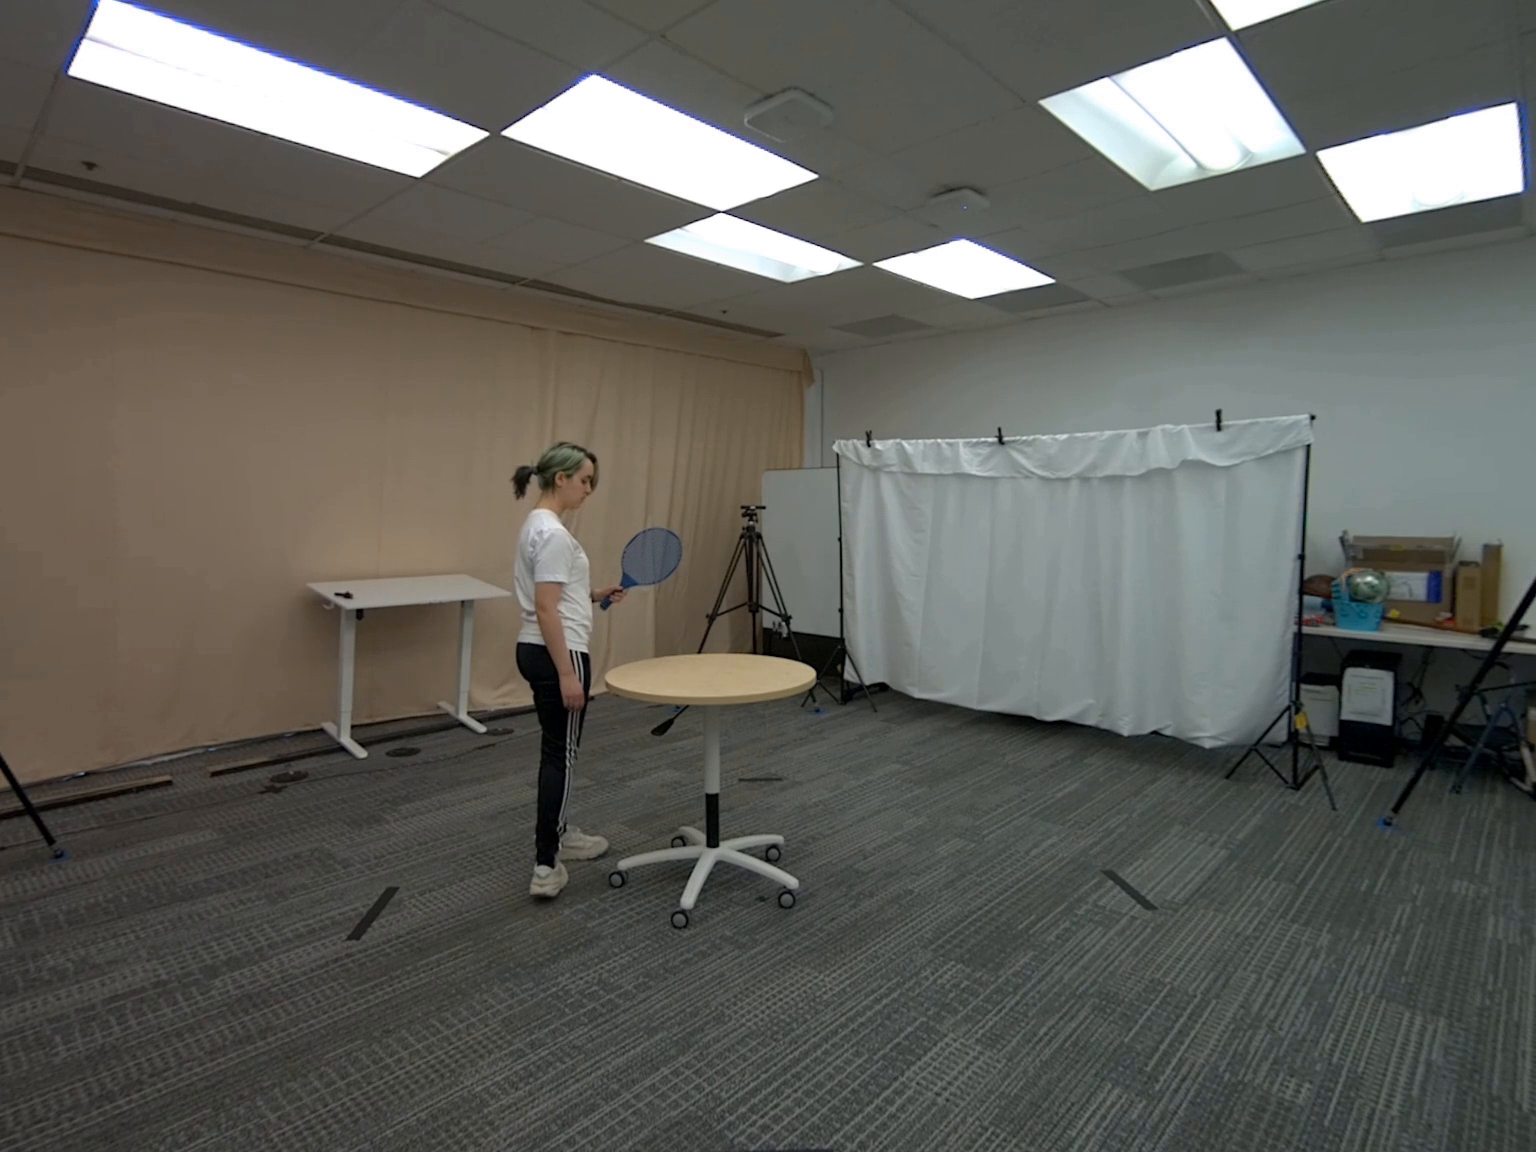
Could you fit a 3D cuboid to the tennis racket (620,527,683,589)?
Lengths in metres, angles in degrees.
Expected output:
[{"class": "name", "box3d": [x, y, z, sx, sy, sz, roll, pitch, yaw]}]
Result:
[{"class": "tennis racket", "box3d": [-0.527, -0.016, 3.320, 0.209, 0.435, 0.032, 43, 13, -16]}]
